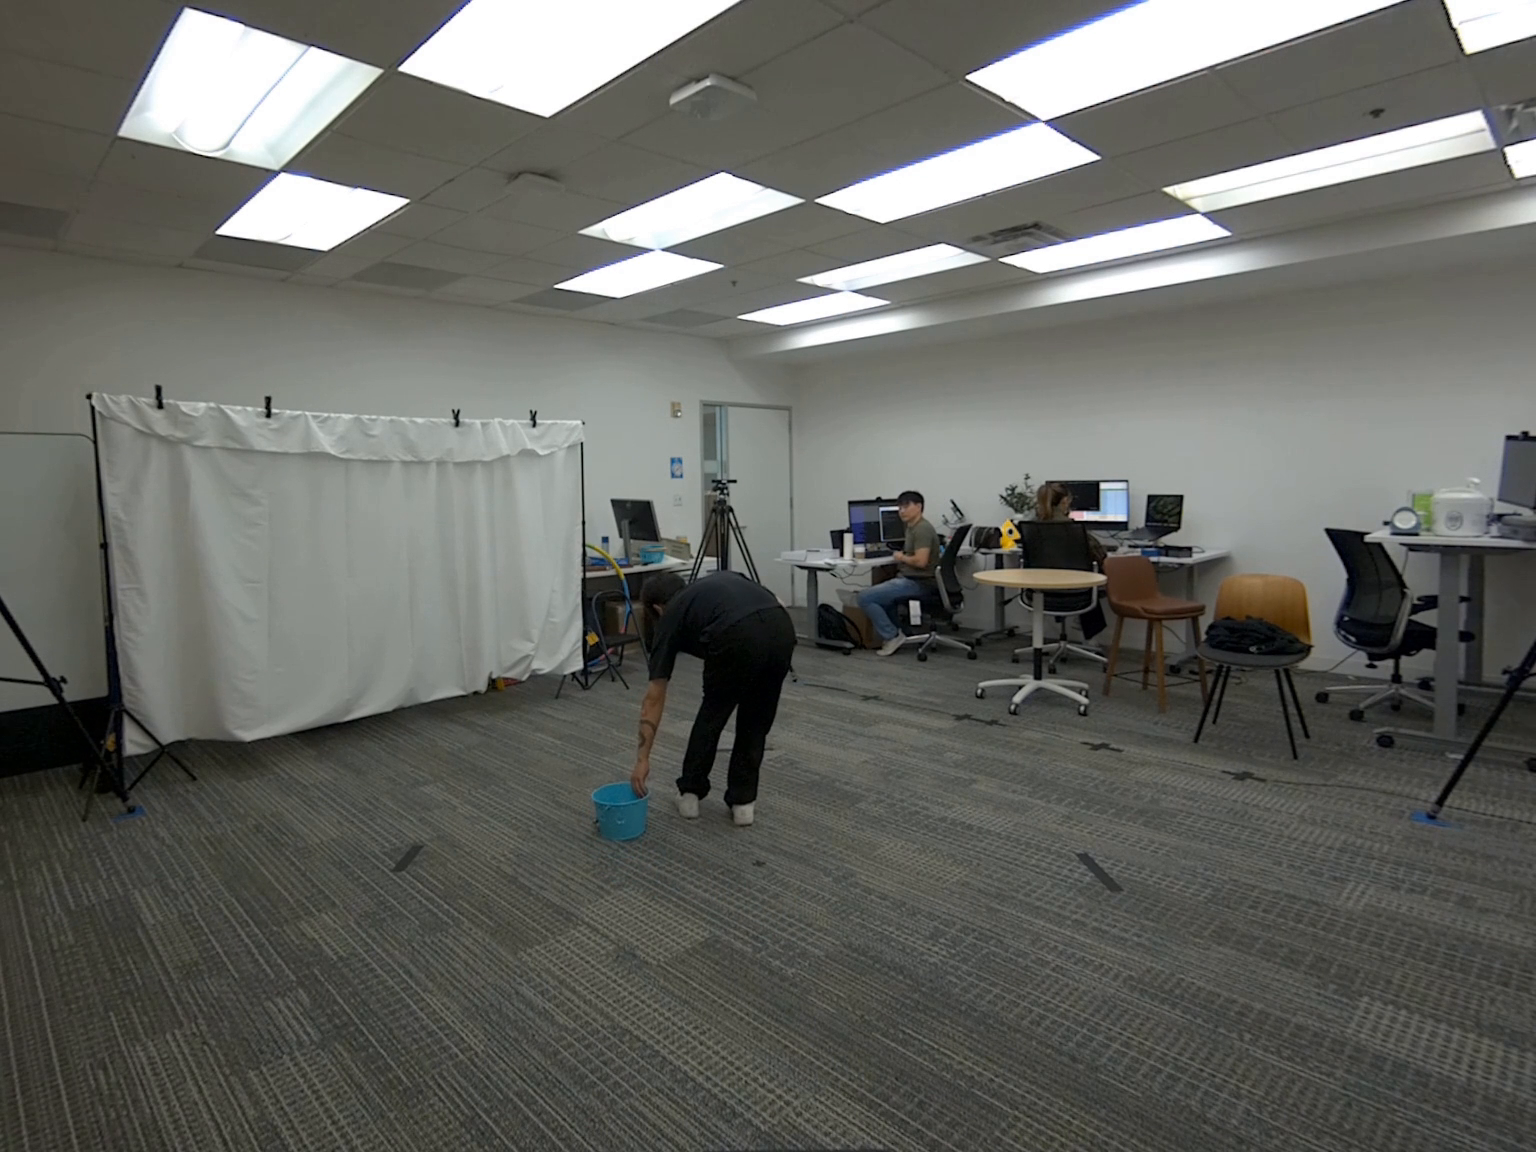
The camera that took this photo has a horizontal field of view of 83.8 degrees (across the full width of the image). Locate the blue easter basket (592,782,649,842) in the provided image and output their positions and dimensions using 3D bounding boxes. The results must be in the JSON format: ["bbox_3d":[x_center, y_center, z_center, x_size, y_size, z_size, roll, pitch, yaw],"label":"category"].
[{"bbox_3d":[-0.578,0.943,3.421,0.243,0.155,0.245,-2,7,-1],"label":"blue easter basket"}]
